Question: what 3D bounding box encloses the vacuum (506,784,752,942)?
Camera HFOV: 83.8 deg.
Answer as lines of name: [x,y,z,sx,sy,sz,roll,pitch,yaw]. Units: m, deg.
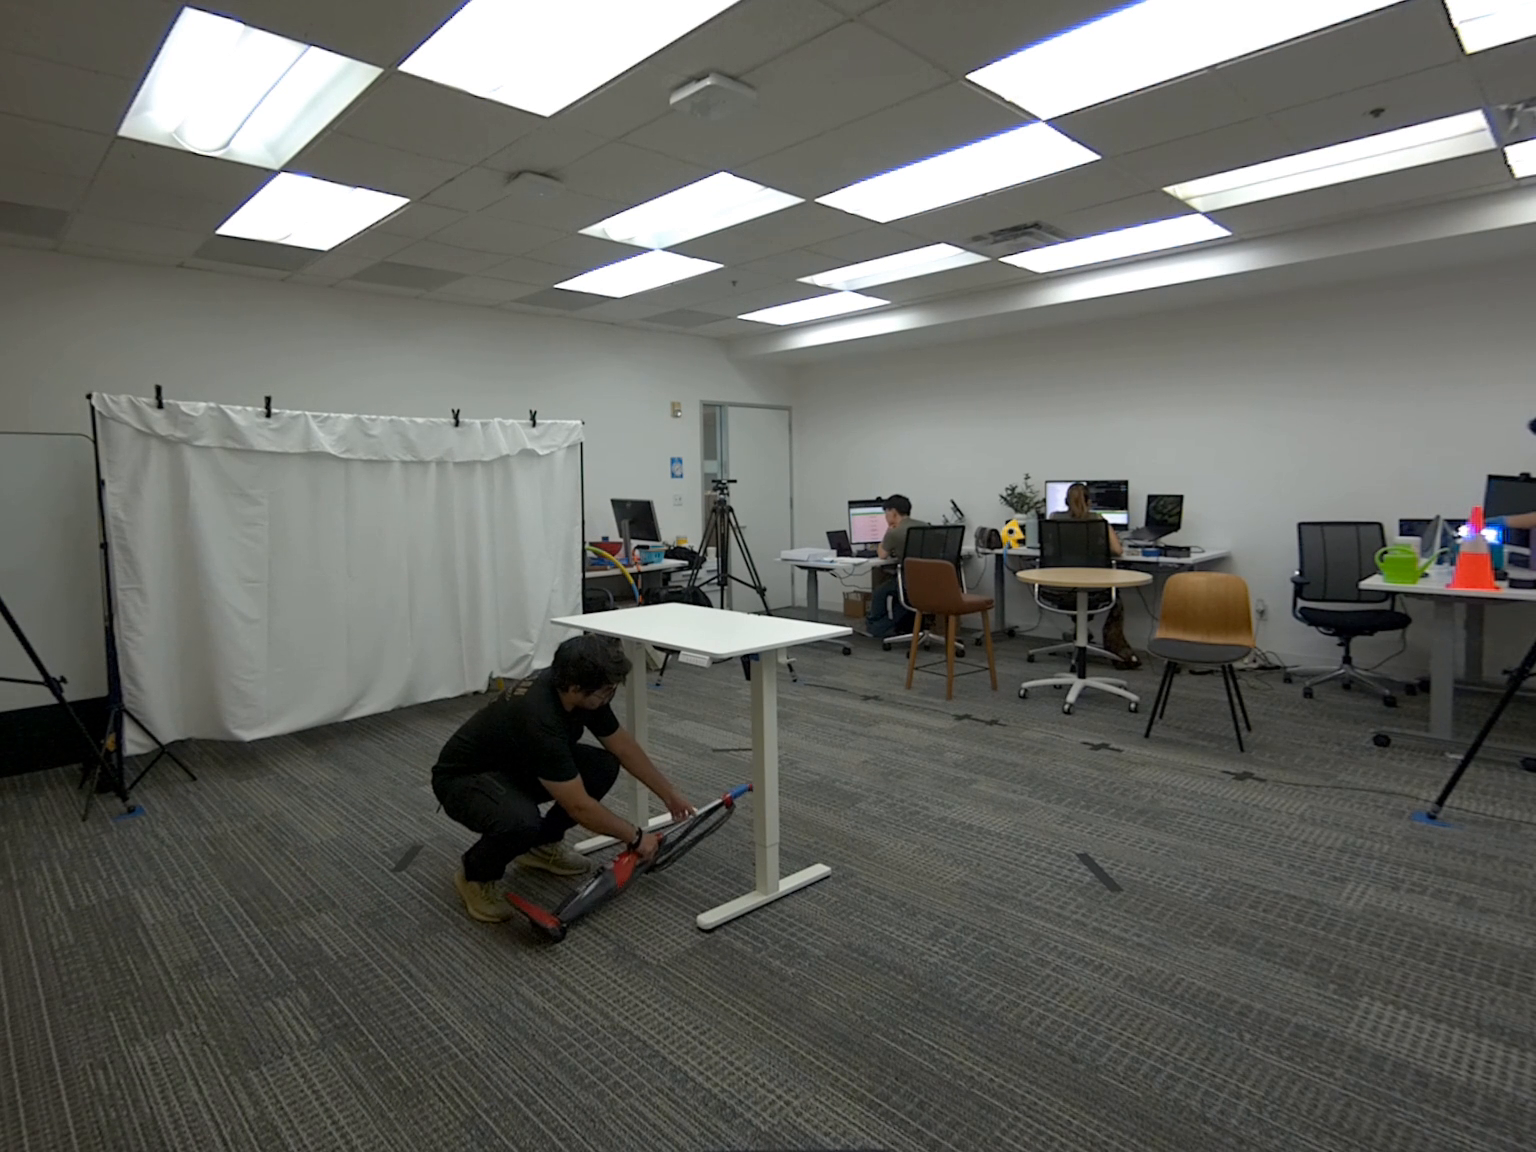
vacuum: [-0.370,0.945,2.974,0.260,0.143,1.027,2,13,44]
